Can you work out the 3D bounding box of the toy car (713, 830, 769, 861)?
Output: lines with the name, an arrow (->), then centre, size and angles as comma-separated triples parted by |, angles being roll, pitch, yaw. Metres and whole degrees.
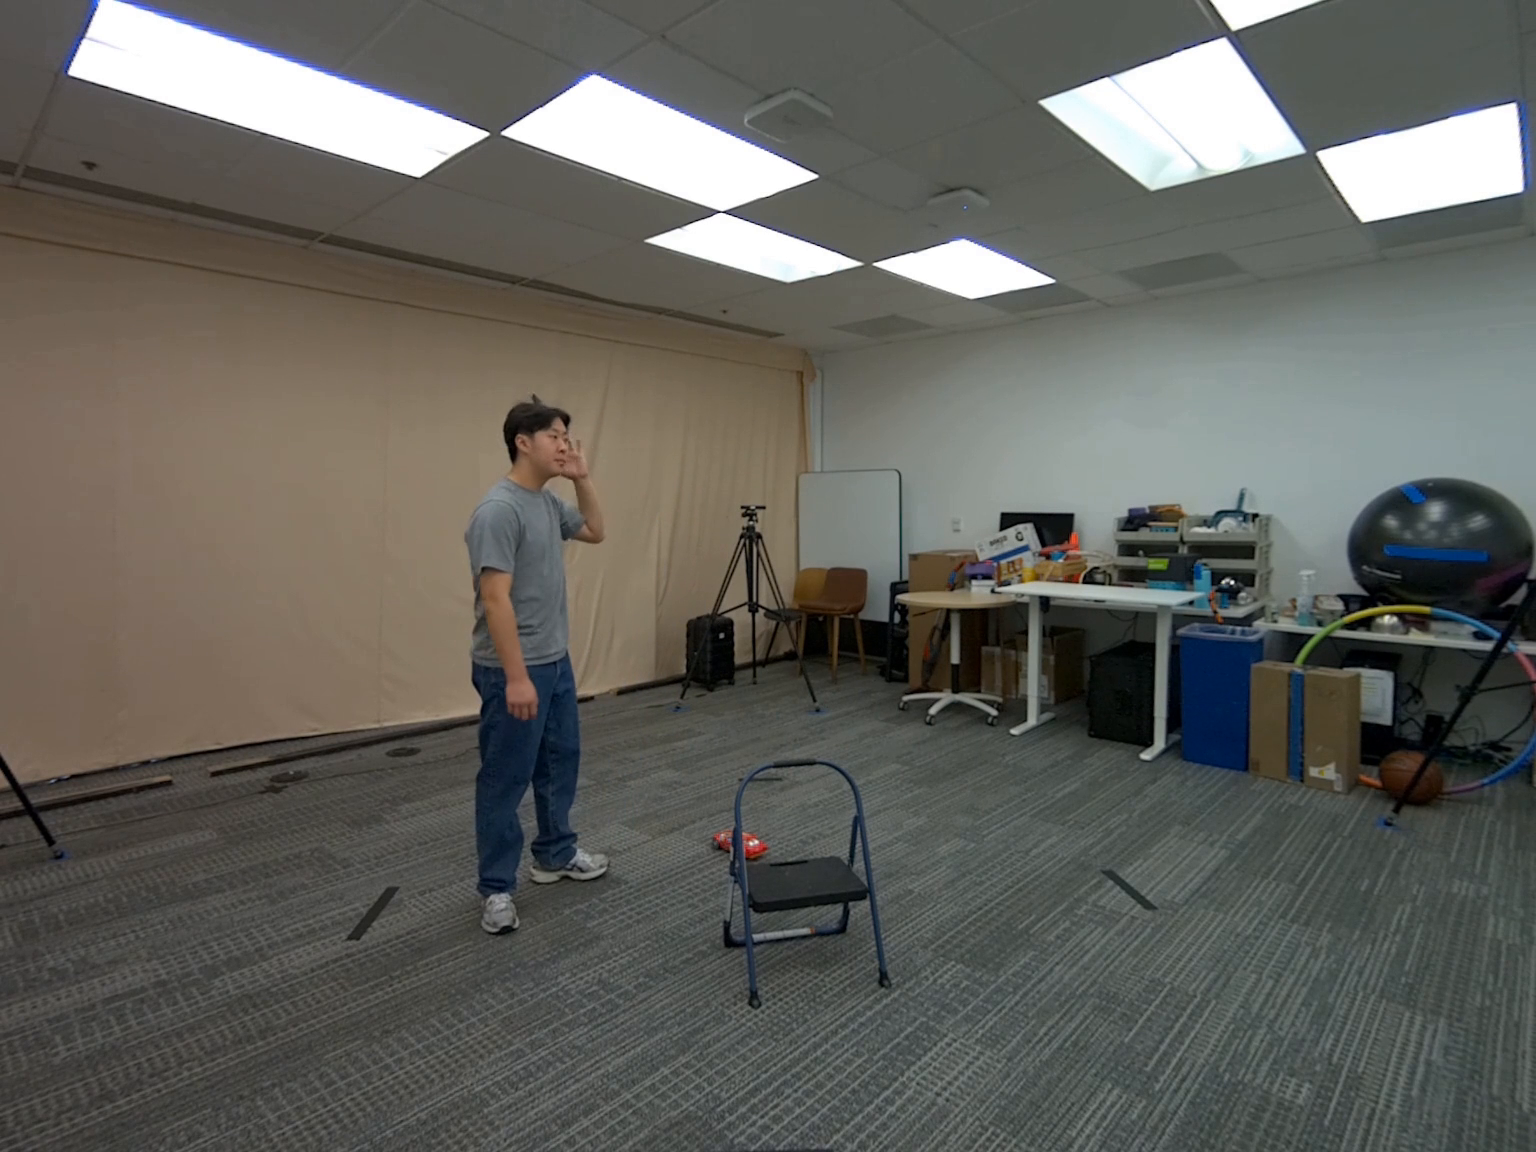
toy car -> -0.106, 1.081, 3.378 | 0.126, 0.083, 0.261 | -4, -4, -42
